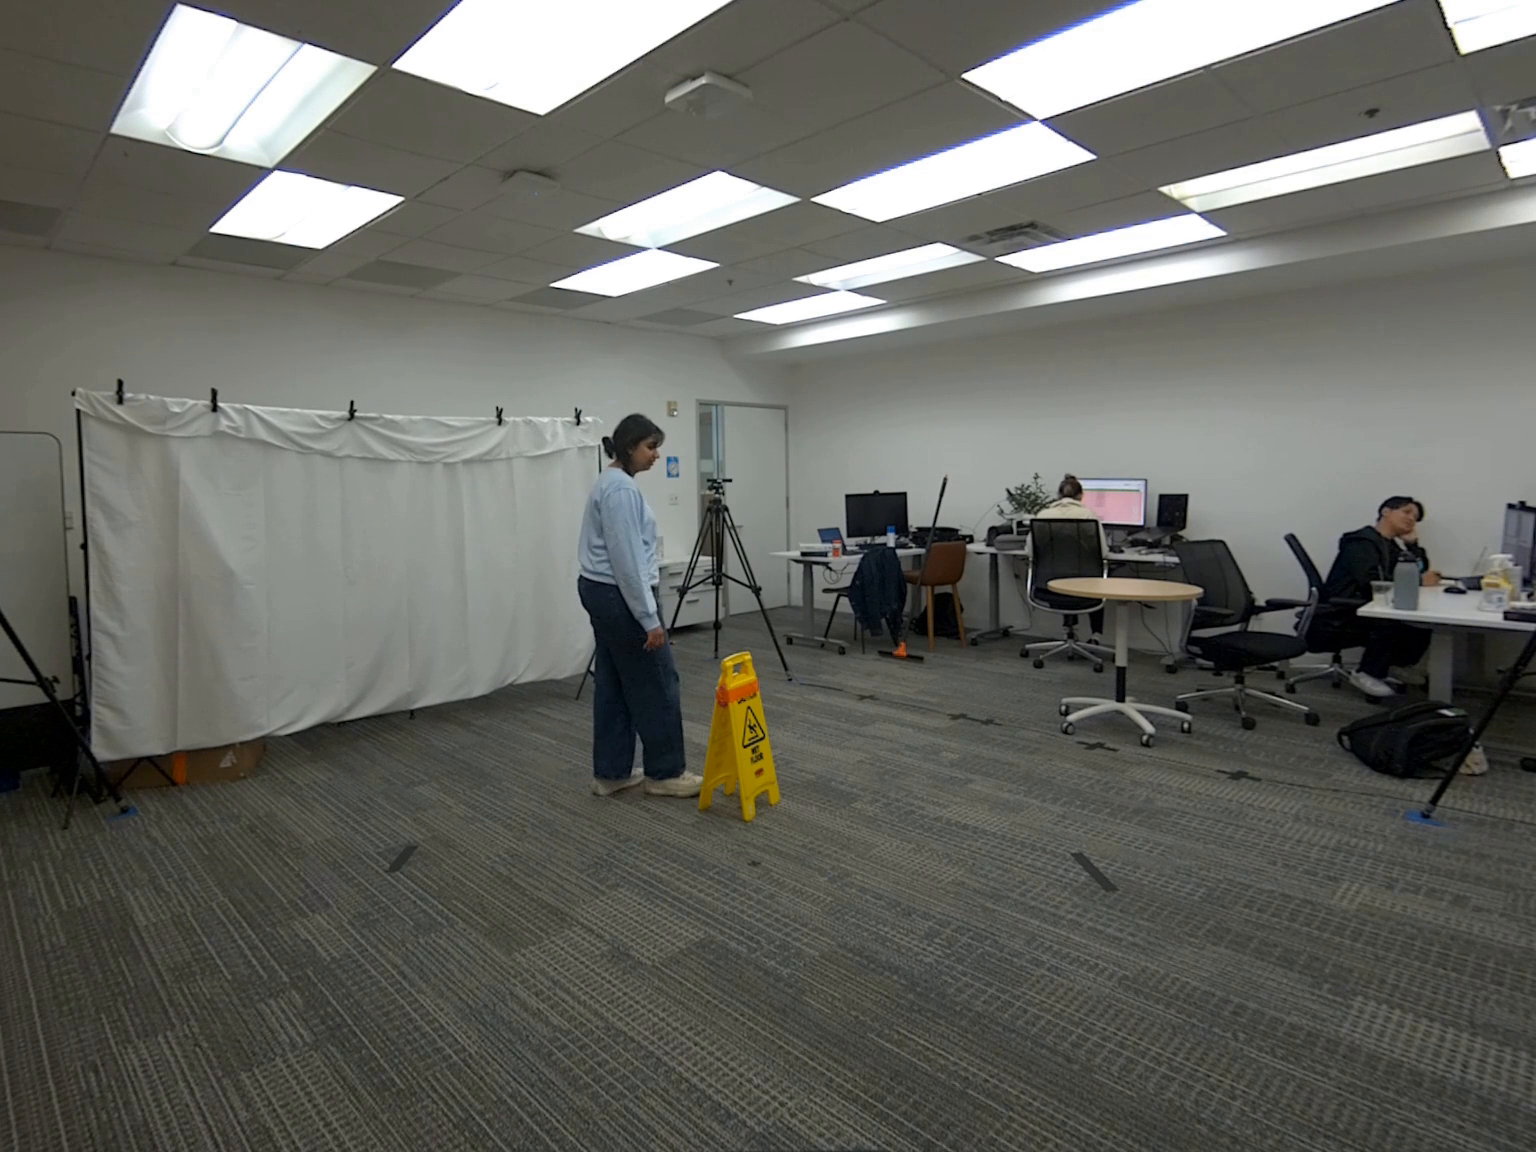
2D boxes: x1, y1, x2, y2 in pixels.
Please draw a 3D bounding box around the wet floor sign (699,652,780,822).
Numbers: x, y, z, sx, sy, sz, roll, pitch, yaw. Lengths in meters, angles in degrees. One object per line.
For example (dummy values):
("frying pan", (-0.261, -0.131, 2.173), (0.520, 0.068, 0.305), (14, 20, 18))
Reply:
("wet floor sign", (-0.131, 0.661, 3.652), (0.297, 0.644, 0.275), (1, 3, 31))
